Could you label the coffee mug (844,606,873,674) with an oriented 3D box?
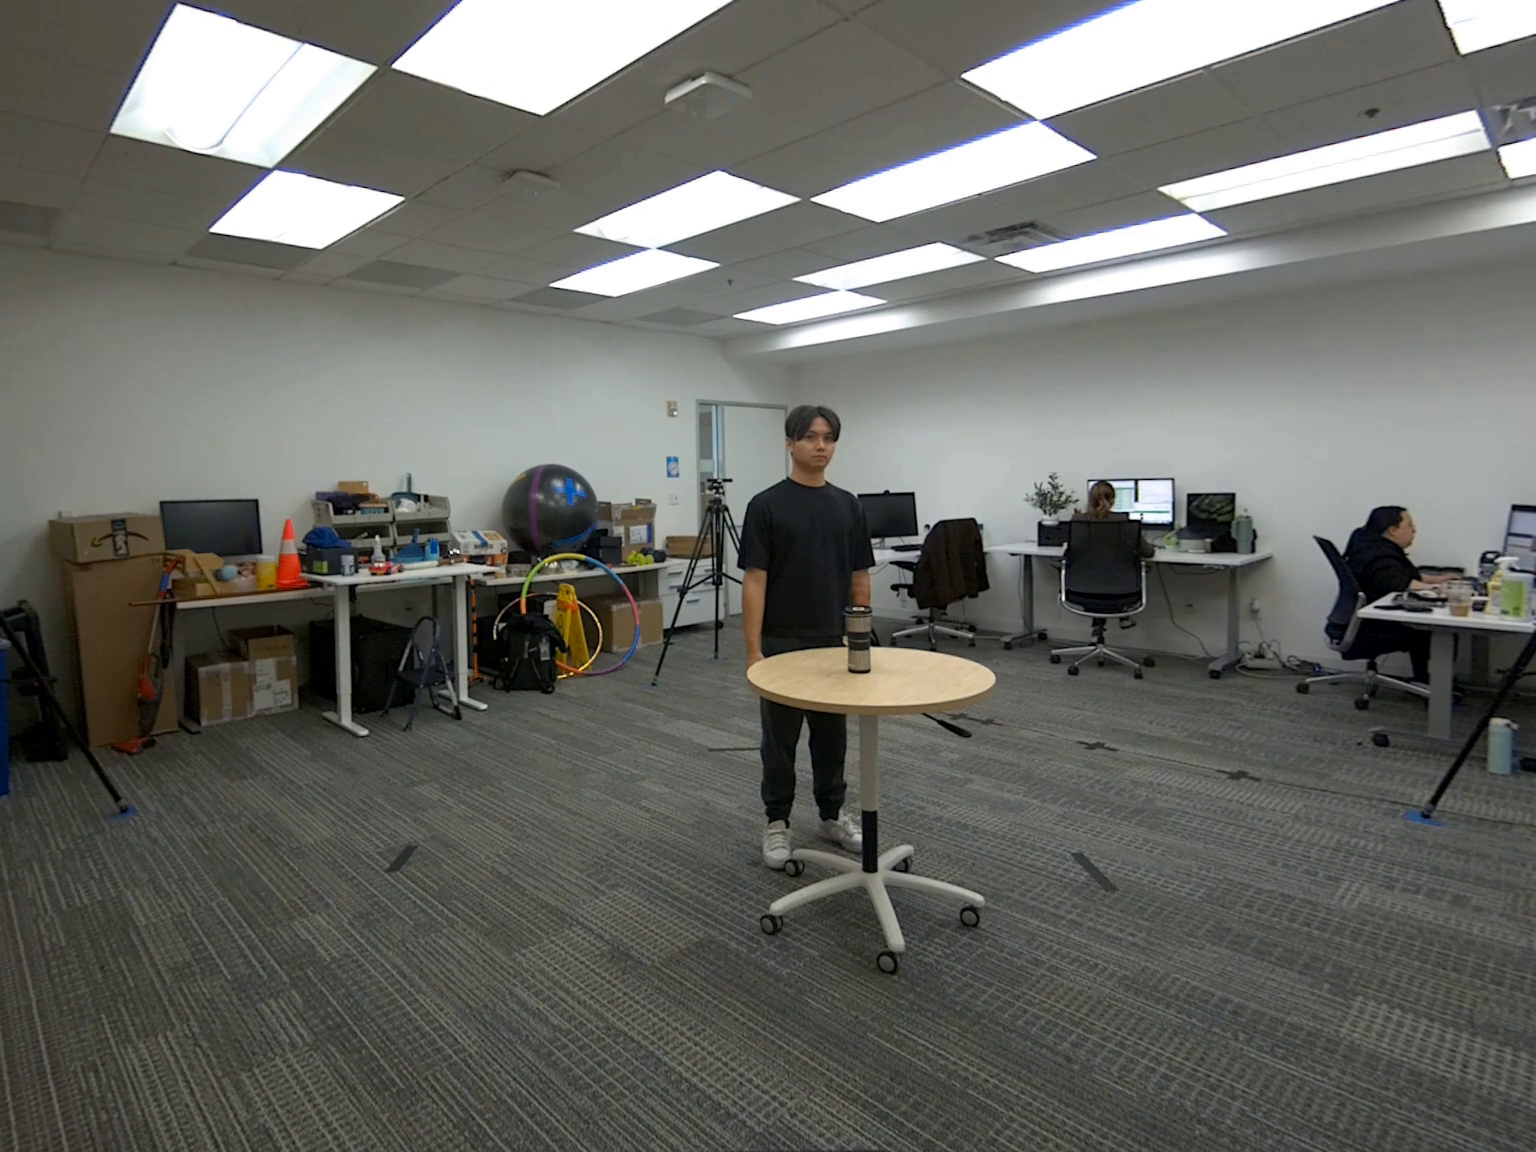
[{"bbox_3d":[0.293,0.201,2.712,0.090,0.202,0.119,-6,5,41],"label":"coffee mug"}]
